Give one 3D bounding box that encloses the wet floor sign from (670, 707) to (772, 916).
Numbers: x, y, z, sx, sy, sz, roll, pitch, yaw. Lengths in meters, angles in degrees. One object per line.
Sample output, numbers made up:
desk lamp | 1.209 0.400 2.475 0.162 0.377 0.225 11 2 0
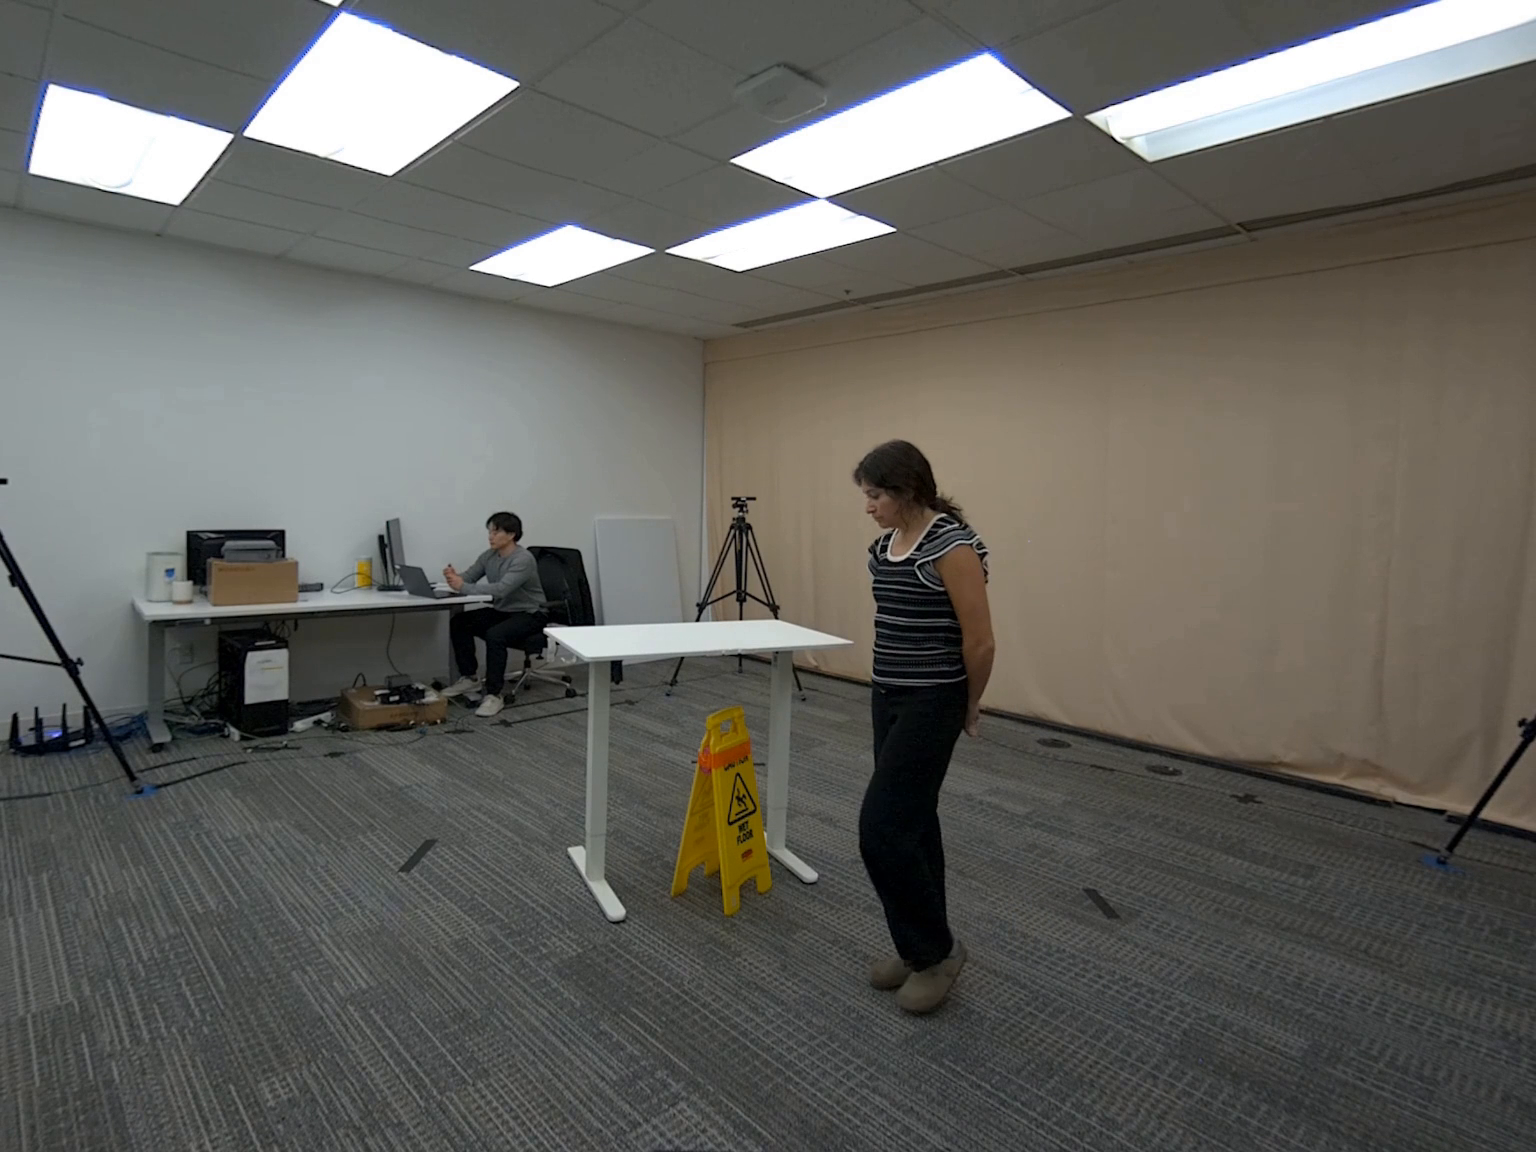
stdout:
wet floor sign | -0.165 0.795 2.957 0.296 0.645 0.276 3 4 33
